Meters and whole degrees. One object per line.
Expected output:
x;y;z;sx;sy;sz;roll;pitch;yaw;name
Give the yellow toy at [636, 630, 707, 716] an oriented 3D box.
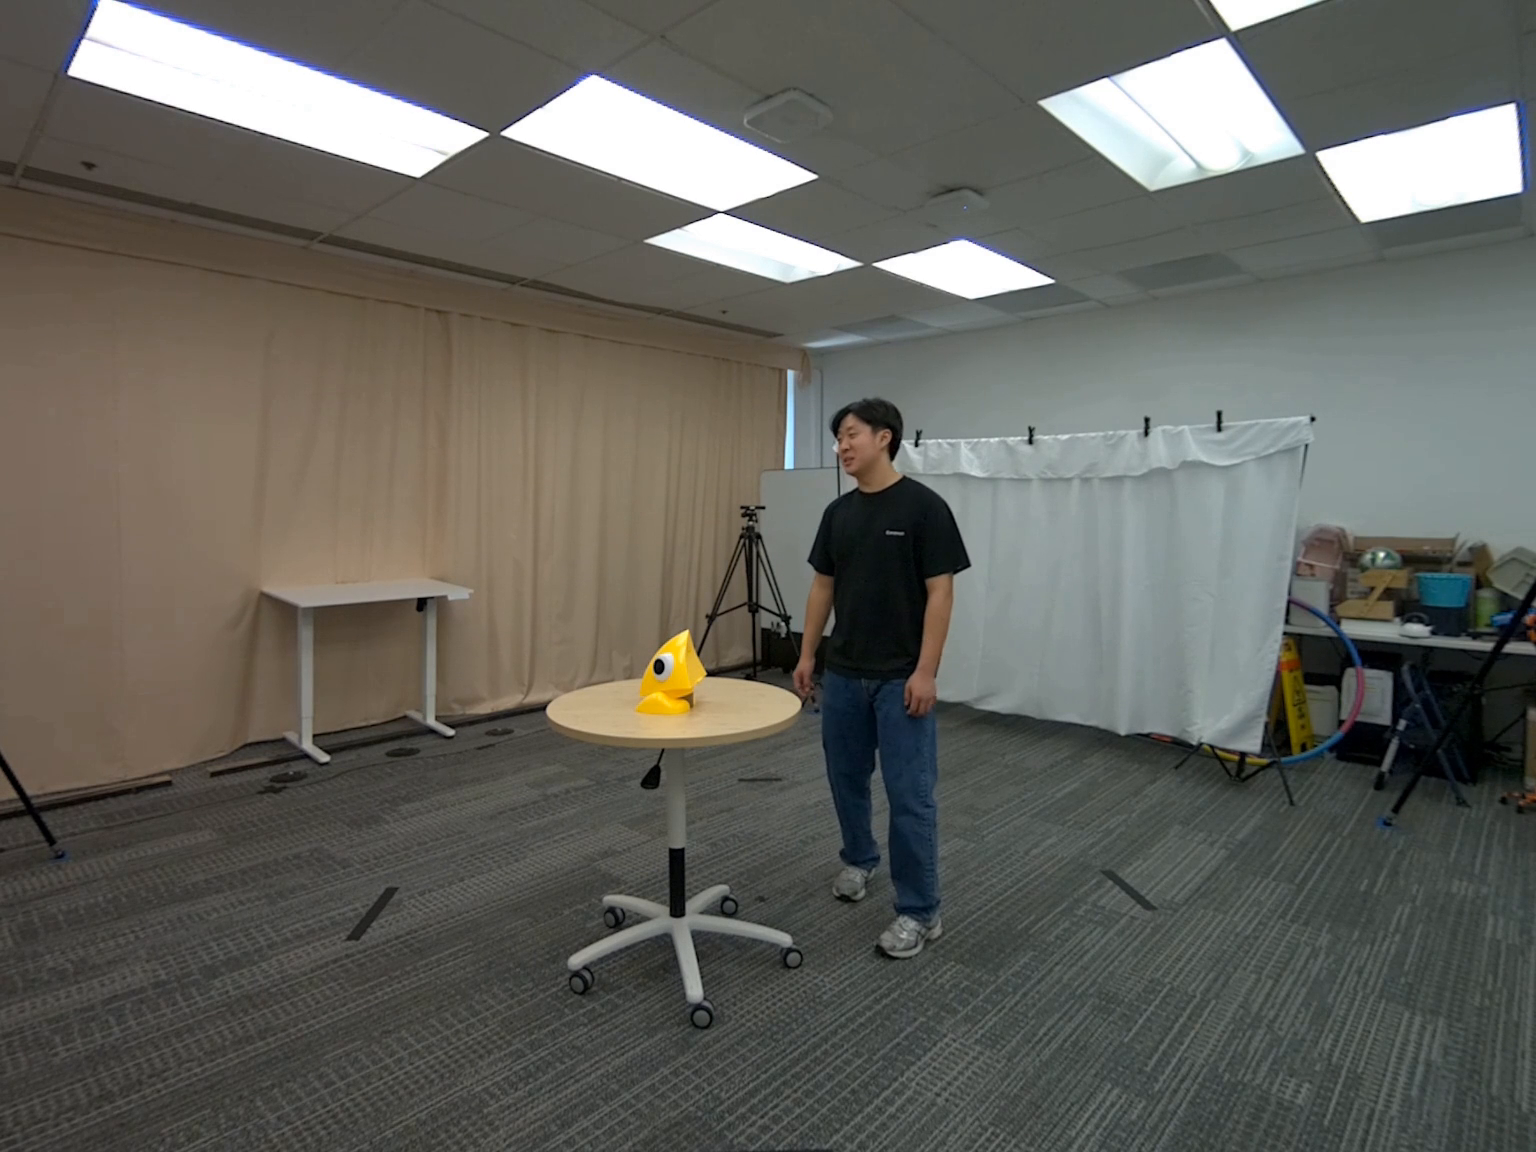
-0.292;0.277;2.507;0.195;0.230;0.203;-1;4;10;yellow toy
